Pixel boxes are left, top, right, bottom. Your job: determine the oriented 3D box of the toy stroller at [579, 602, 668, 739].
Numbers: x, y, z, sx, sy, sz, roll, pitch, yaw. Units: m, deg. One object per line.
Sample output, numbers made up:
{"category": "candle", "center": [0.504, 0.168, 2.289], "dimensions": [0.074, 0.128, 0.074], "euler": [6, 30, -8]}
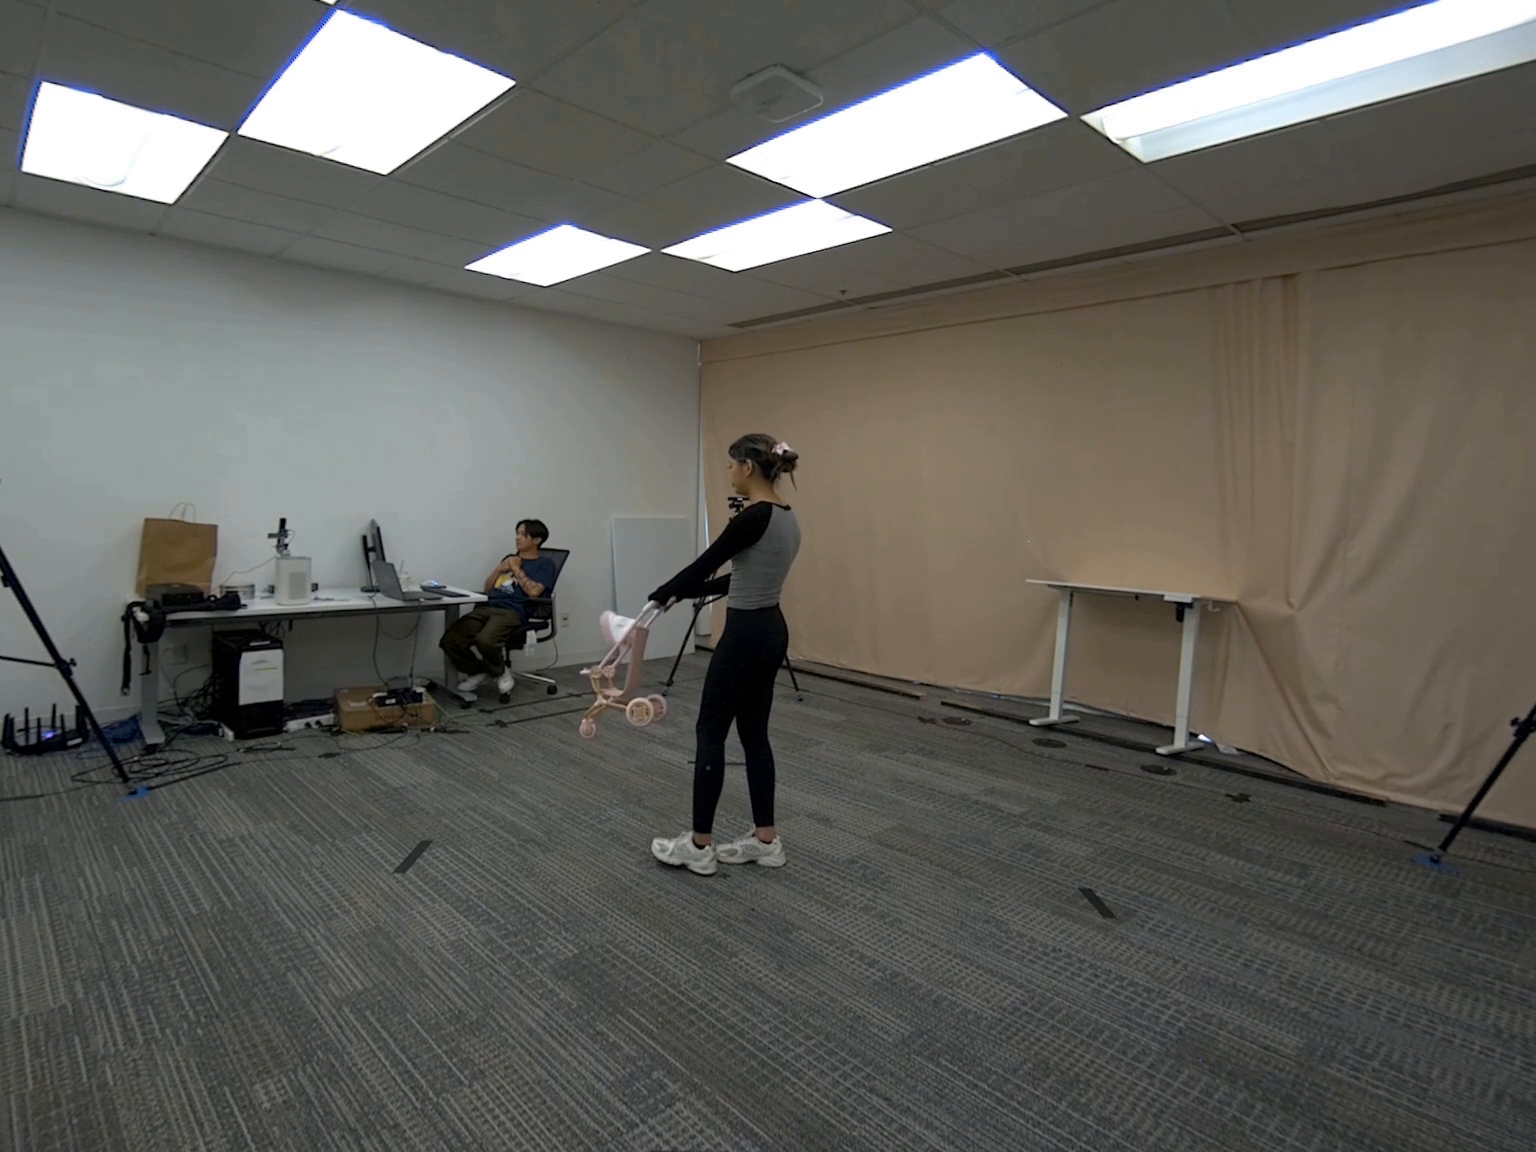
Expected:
{"category": "toy stroller", "center": [-0.583, 0.377, 3.324], "dimensions": [0.344, 0.537, 0.278], "euler": [-2, -6, 10]}
